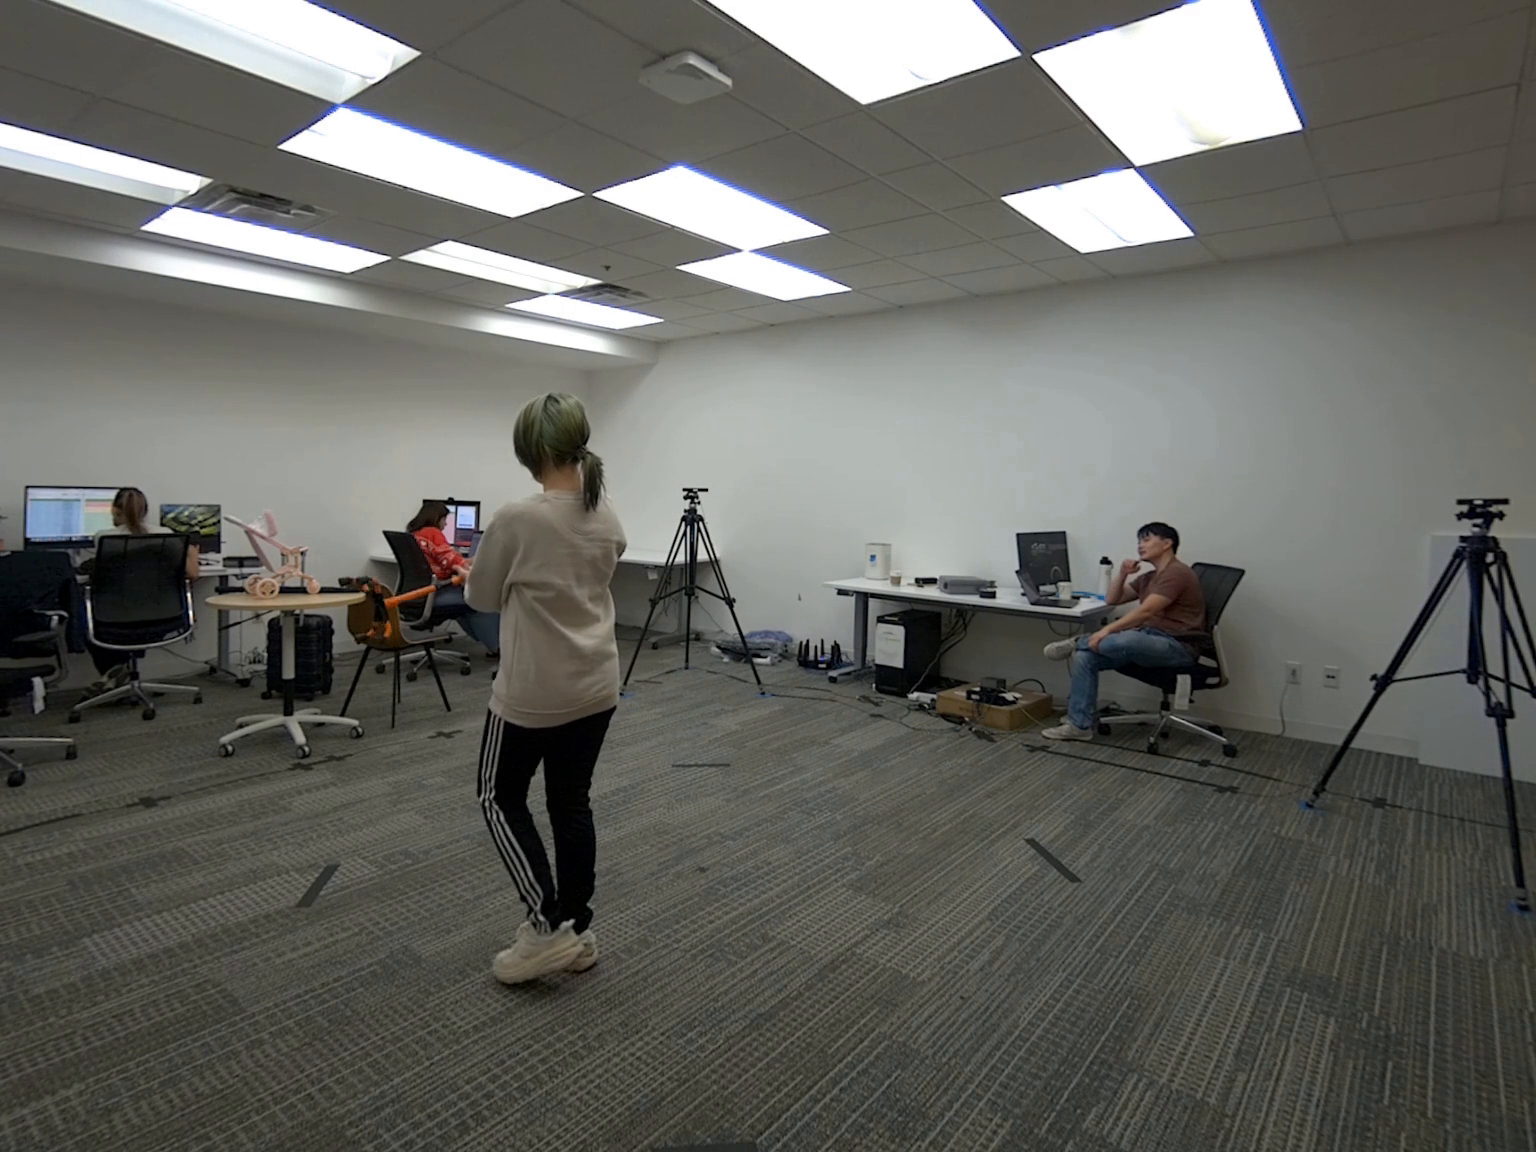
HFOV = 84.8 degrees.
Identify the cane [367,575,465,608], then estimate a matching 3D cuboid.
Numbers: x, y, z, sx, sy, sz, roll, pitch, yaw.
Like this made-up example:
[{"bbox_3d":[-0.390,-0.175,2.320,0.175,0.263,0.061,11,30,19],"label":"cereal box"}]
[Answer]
[{"bbox_3d":[-0.913,-0.026,2.762,0.156,0.204,0.891,-2,15,42],"label":"cane"}]
